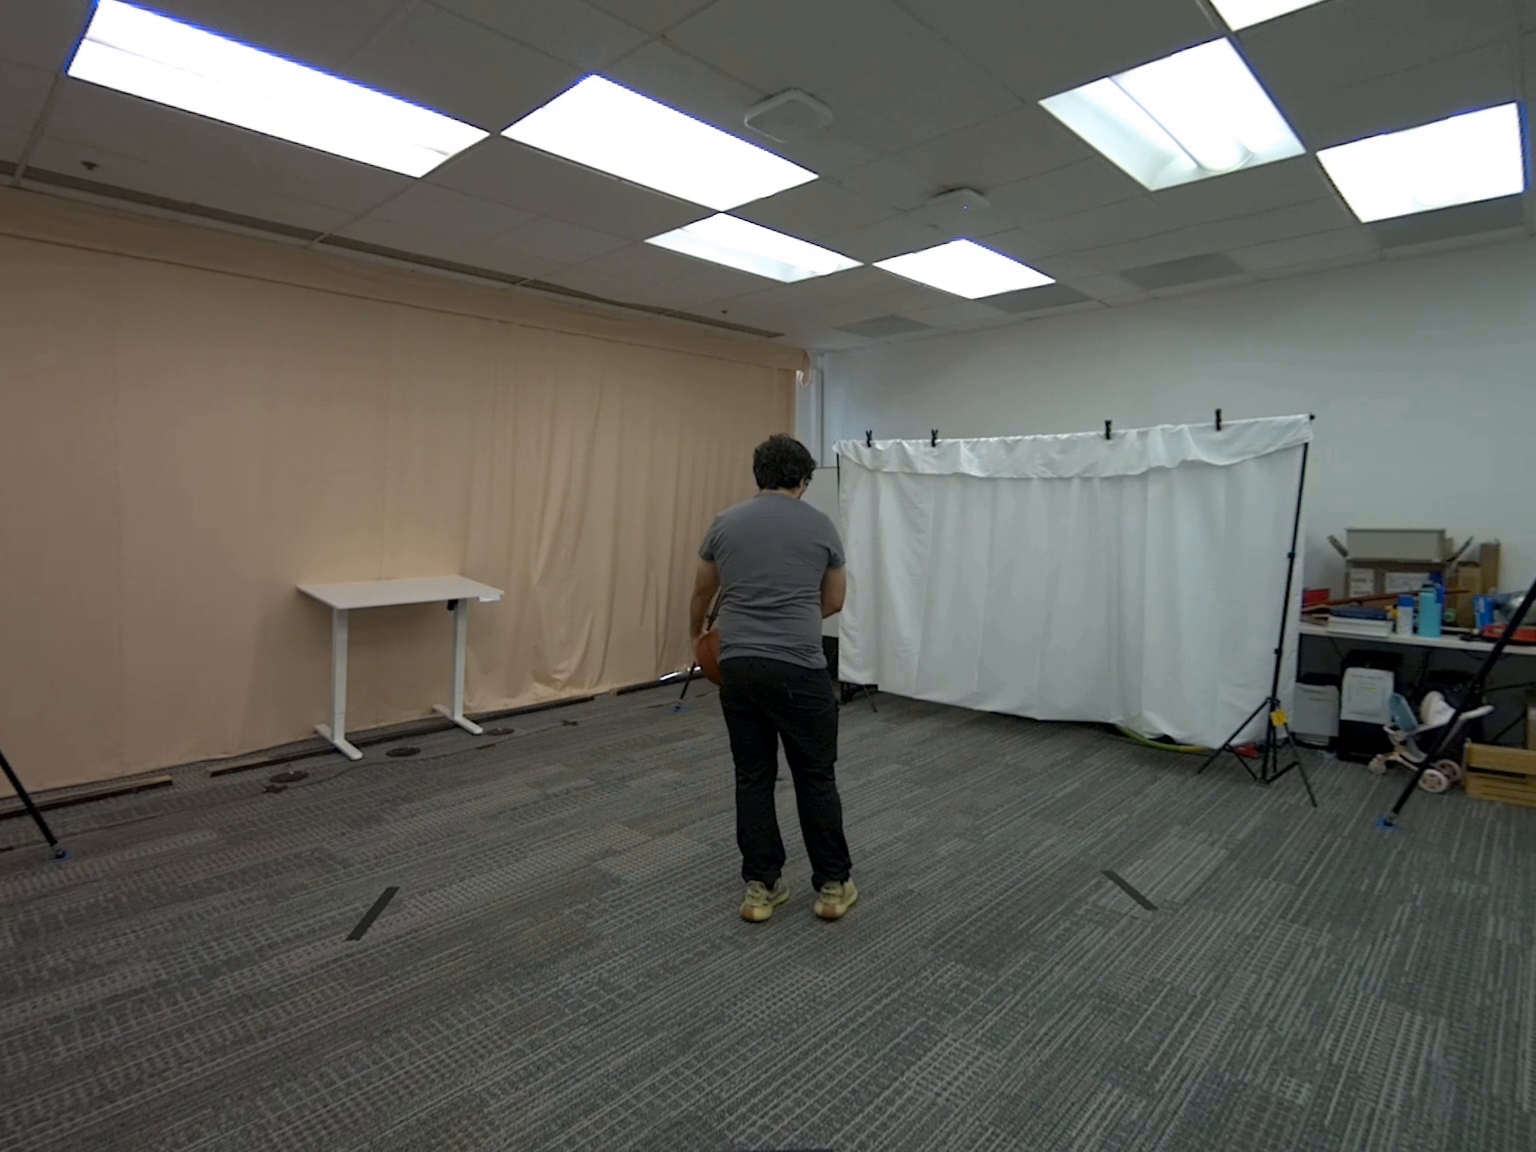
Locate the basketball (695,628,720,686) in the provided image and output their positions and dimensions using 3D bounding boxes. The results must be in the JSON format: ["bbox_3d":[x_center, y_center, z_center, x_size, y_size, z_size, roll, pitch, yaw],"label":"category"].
[{"bbox_3d":[-0.144,0.306,3.220,0.236,0.235,0.237,0,4,-2],"label":"basketball"}]
